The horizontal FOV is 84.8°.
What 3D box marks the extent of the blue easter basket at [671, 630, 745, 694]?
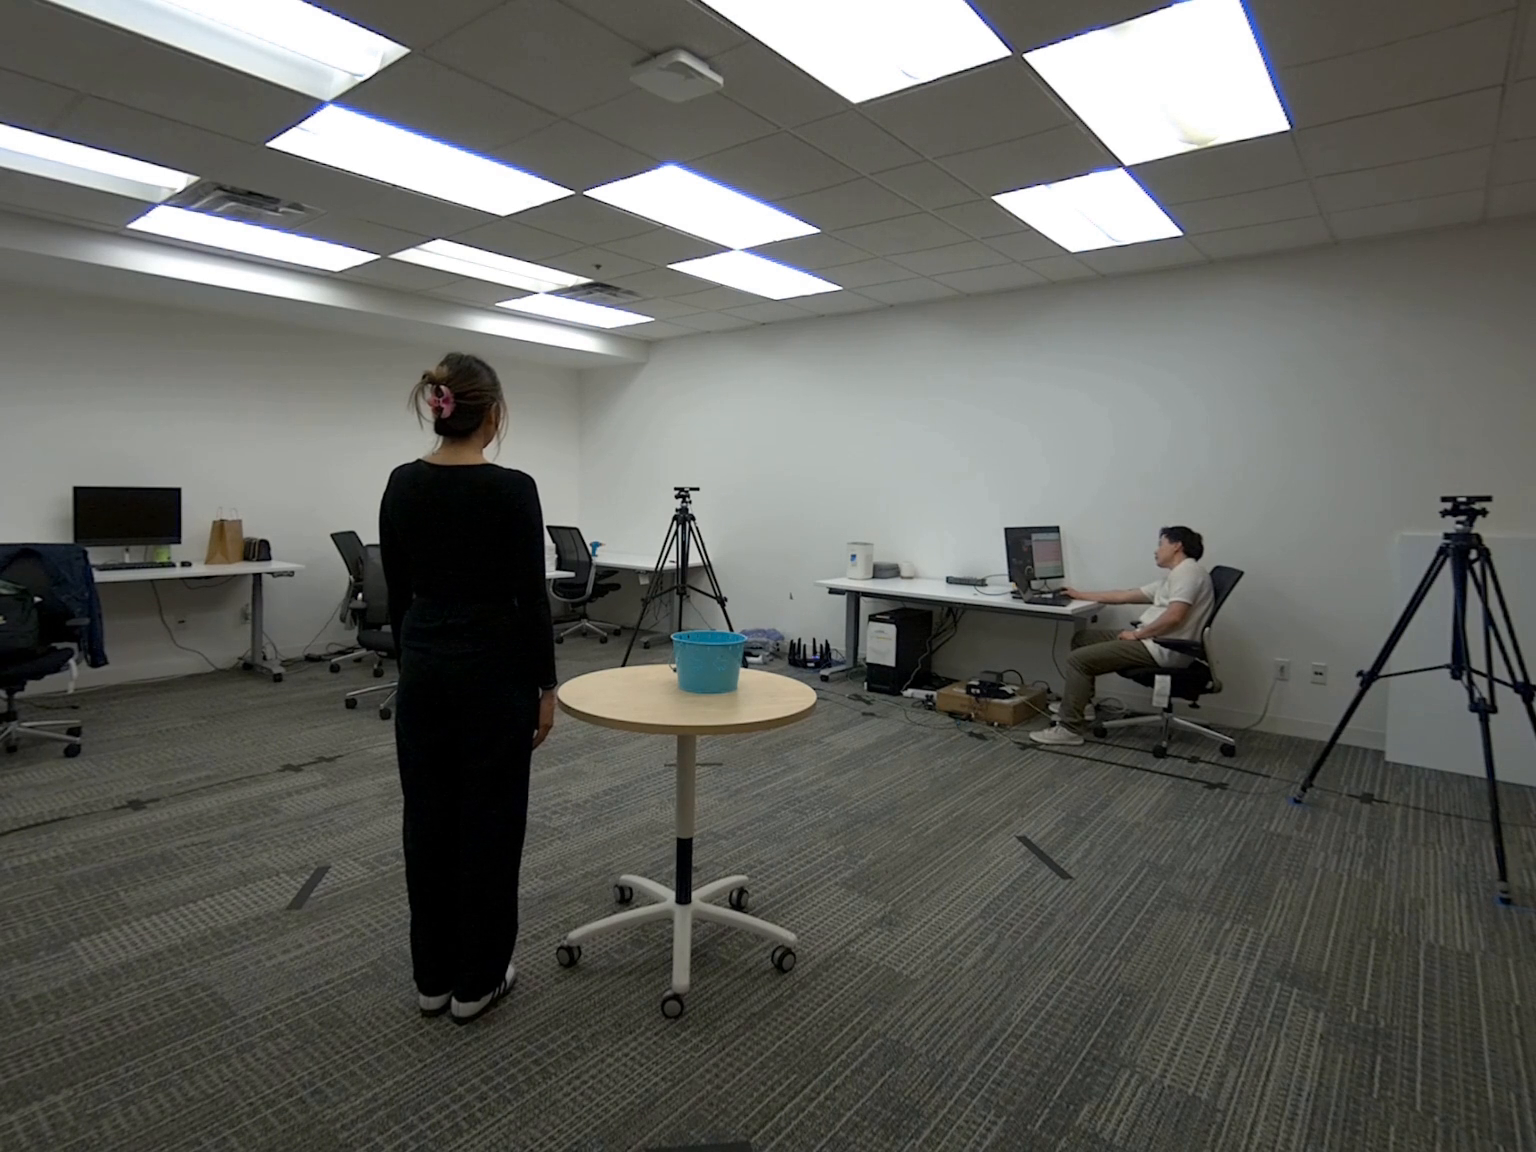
[{"bbox_3d":[-0.187,0.263,2.588,0.243,0.155,0.245,1,5,-2],"label":"blue easter basket"}]
